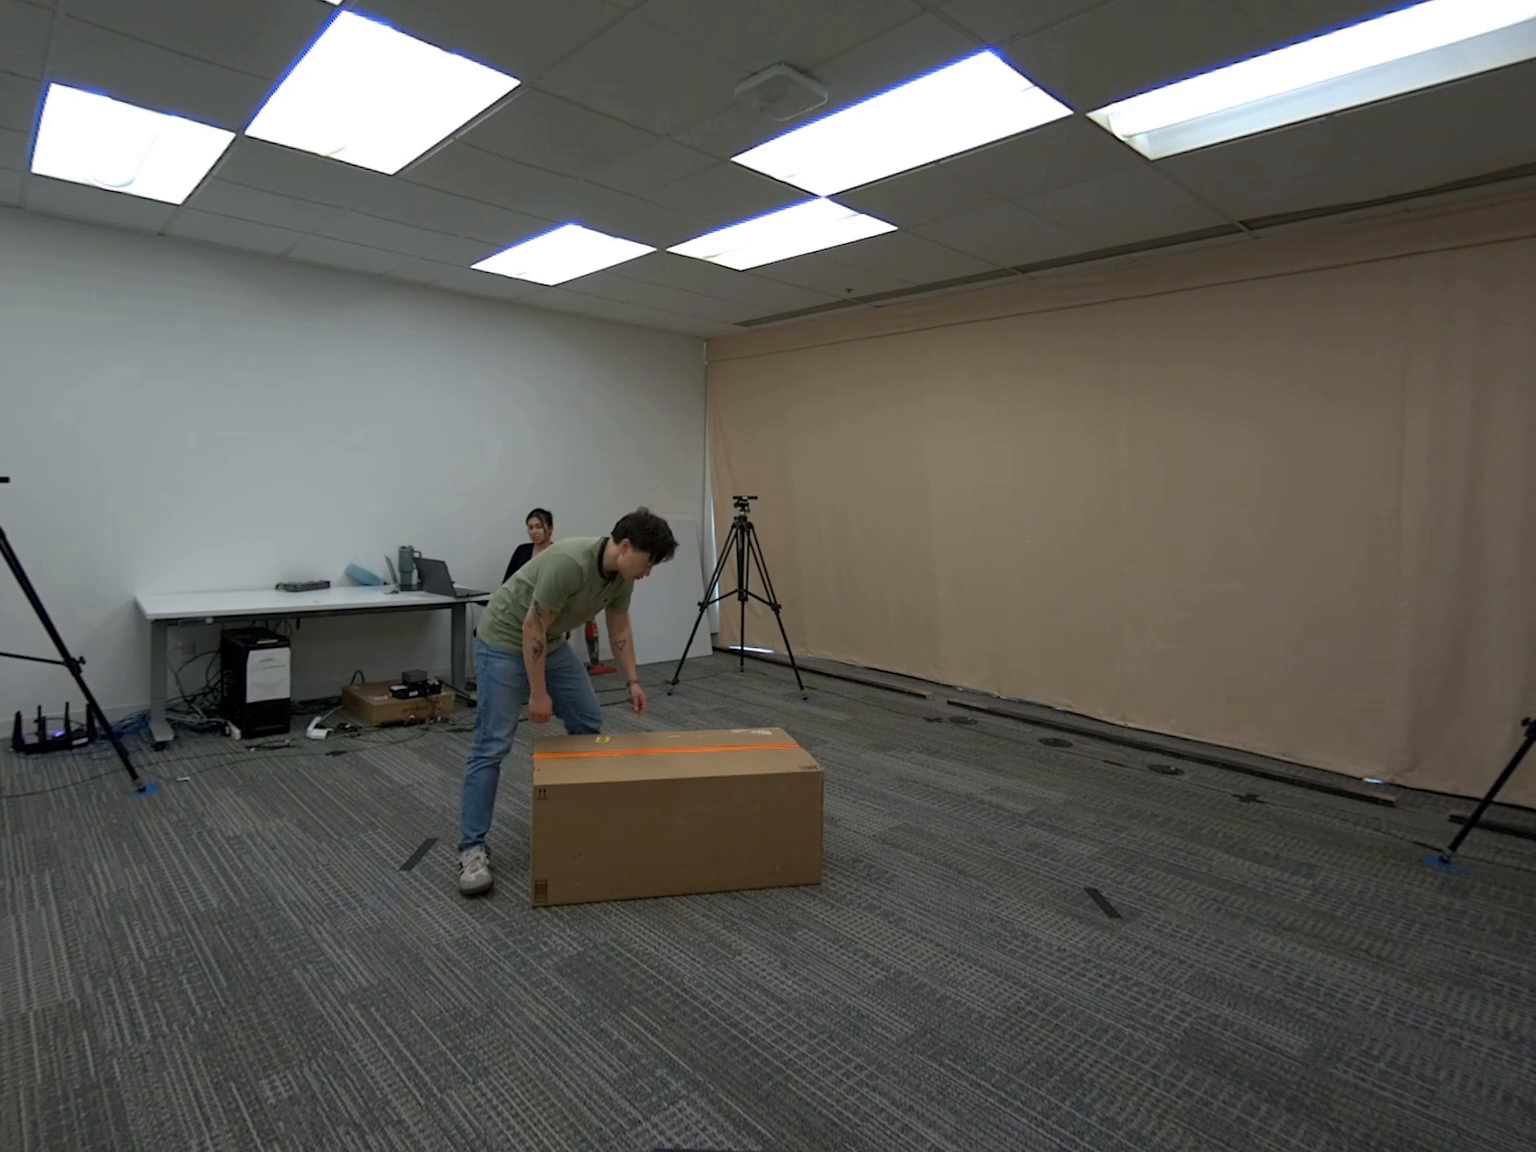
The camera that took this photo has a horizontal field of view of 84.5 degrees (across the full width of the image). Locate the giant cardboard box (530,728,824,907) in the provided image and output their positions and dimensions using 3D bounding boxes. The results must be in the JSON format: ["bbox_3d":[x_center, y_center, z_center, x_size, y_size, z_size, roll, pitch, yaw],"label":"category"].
[{"bbox_3d":[-0.370,0.870,3.190,1.015,0.425,0.585,0,4,-14],"label":"giant cardboard box"}]
